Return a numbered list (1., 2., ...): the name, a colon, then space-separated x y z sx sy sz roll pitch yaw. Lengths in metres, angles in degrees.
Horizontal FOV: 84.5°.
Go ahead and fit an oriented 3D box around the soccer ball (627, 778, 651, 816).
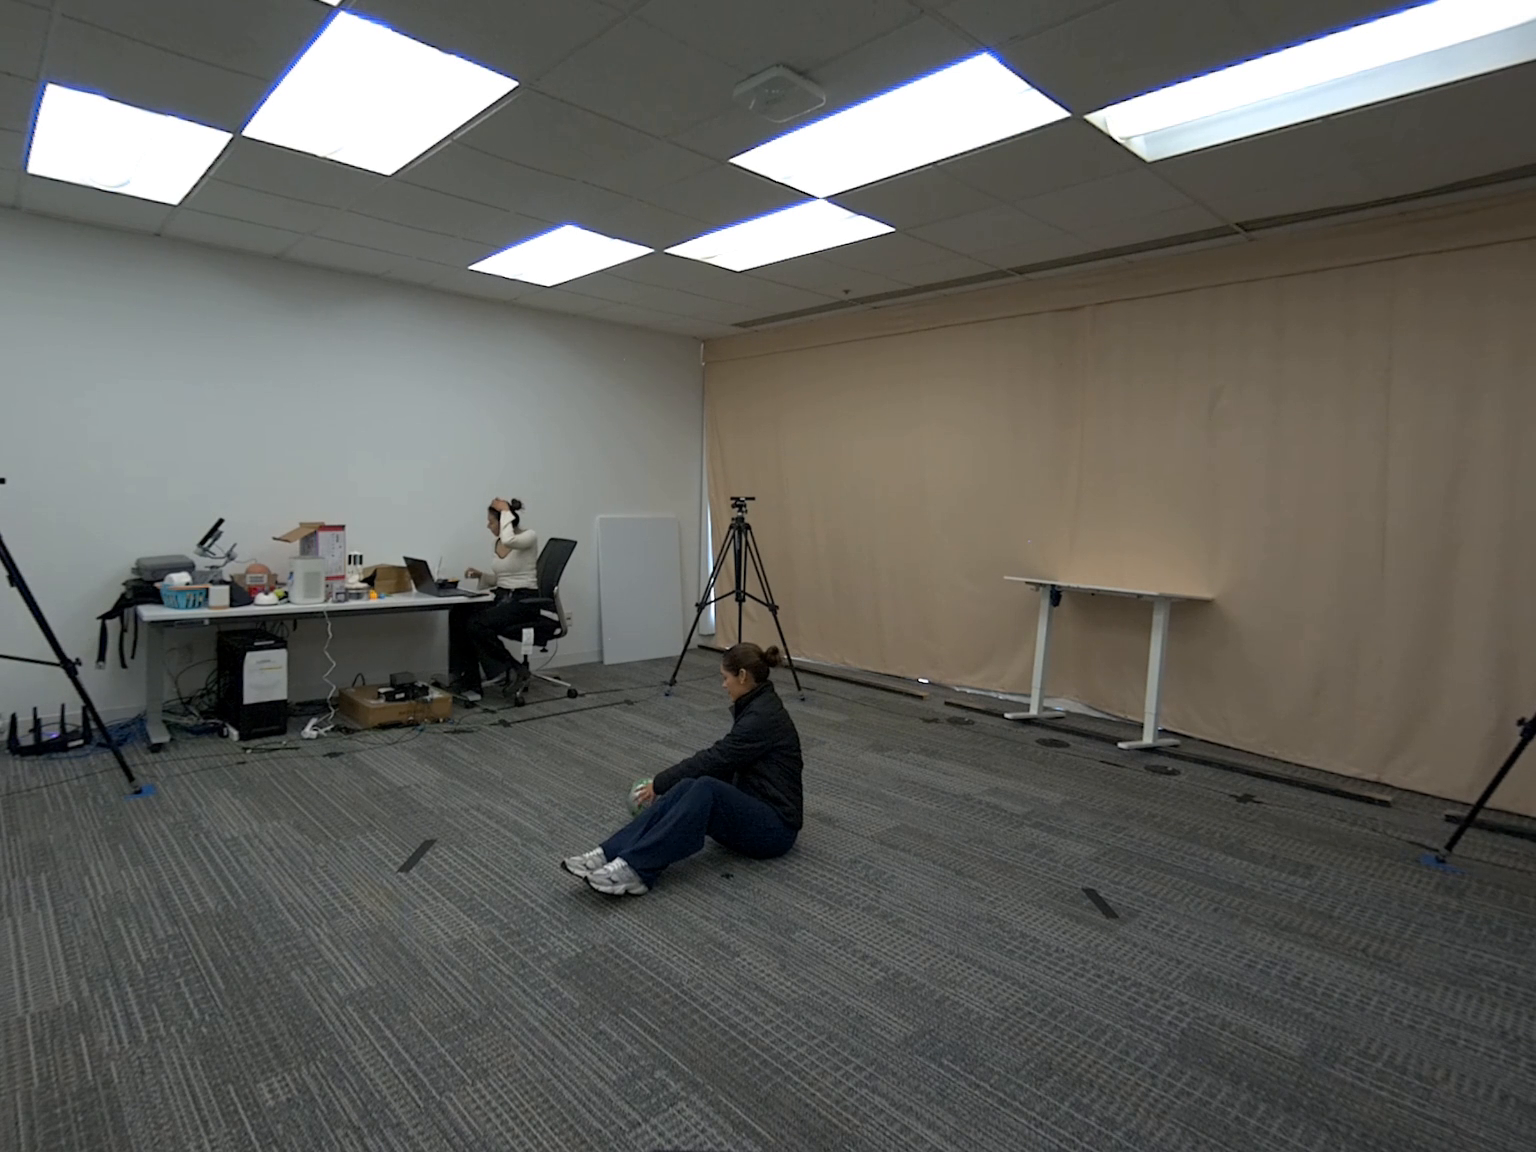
1. soccer ball: -0.512 0.959 3.607 0.187 0.186 0.188 0 7 -1
